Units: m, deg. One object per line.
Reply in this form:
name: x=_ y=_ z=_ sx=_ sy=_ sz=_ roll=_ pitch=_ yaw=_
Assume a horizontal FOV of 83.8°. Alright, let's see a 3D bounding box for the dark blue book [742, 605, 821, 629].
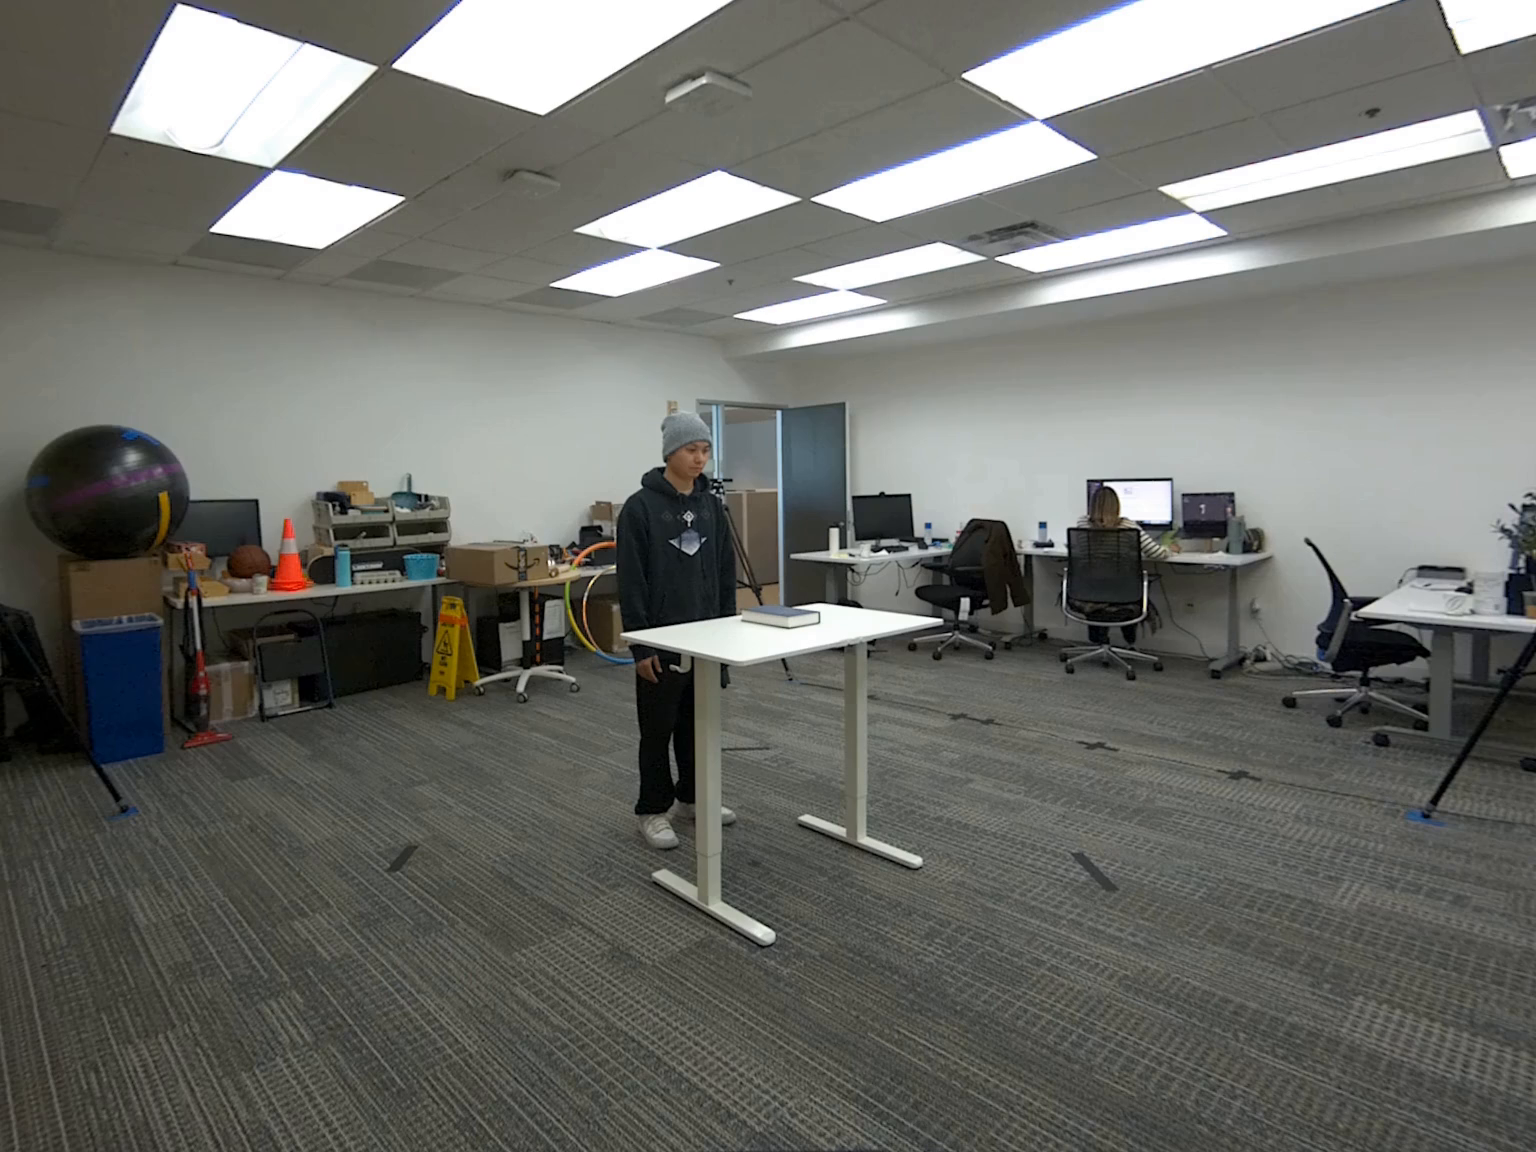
dark blue book: x=0.070 y=0.149 z=3.055 sx=0.159 sy=0.045 sz=0.253 roll=-6 pitch=8 yaw=-42
